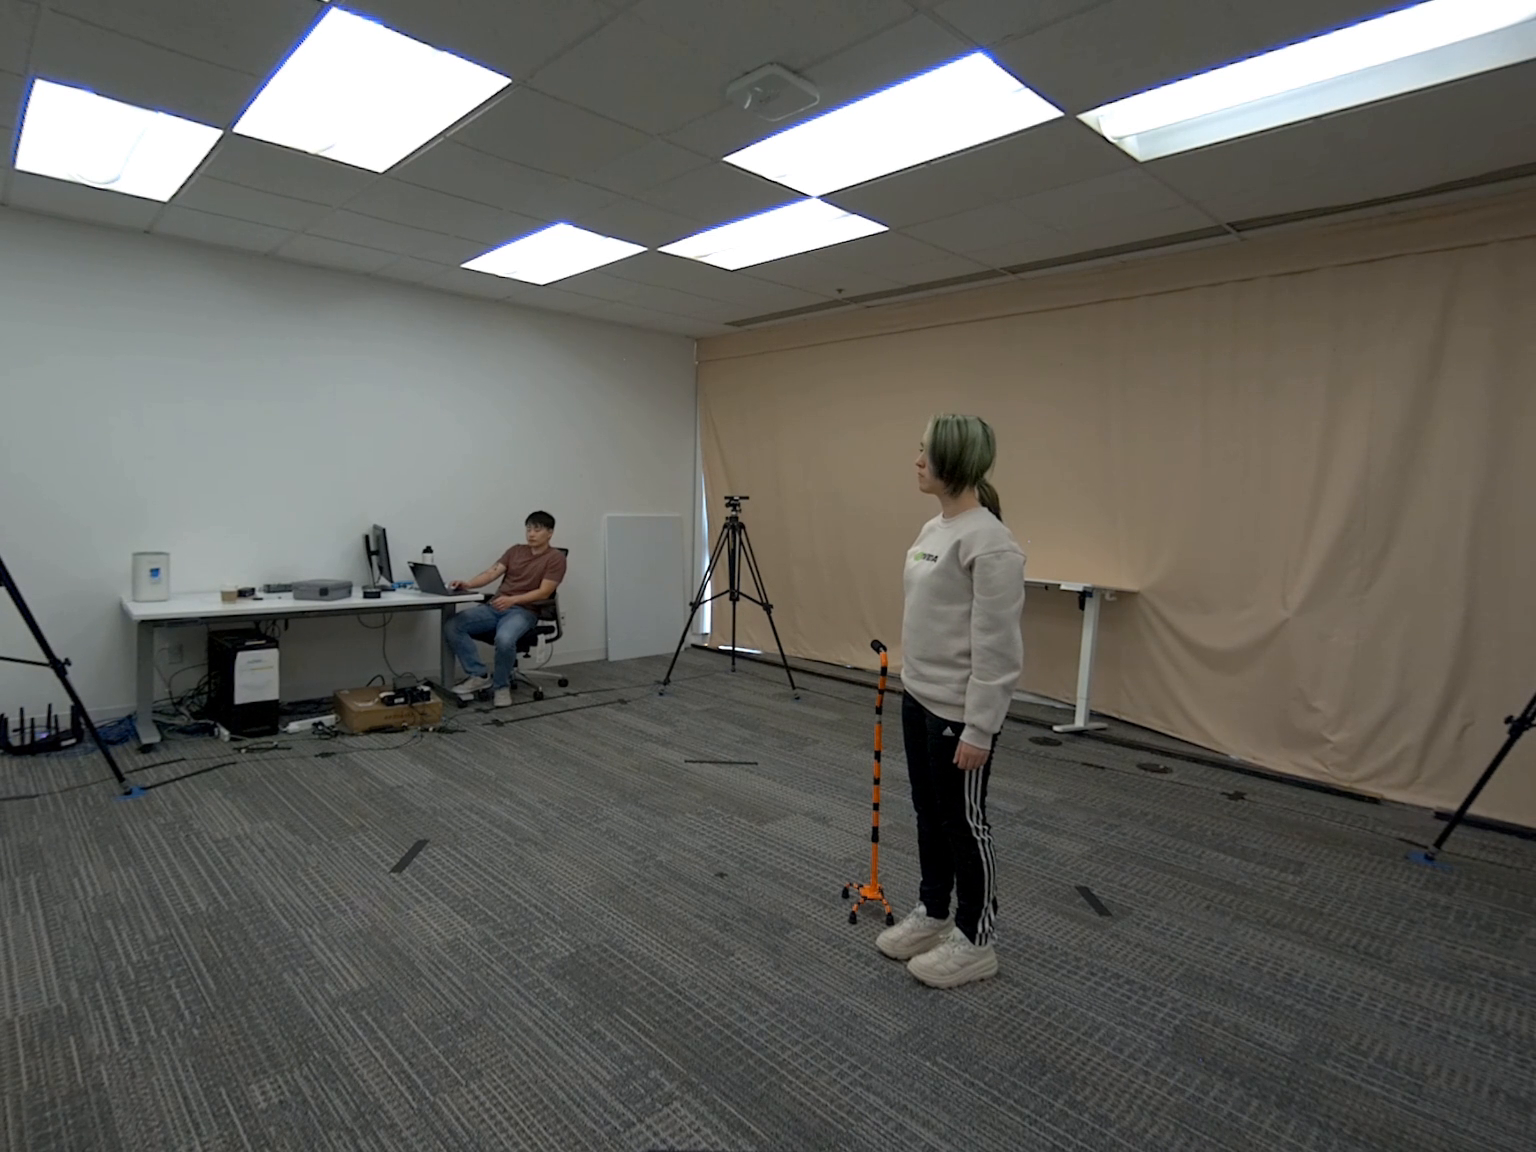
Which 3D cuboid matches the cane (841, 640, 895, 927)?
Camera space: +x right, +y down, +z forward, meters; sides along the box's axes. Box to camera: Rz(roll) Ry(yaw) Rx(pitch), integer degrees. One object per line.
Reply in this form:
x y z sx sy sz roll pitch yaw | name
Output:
0.346 0.690 2.839 0.151 0.905 0.207 2 3 -2 | cane
